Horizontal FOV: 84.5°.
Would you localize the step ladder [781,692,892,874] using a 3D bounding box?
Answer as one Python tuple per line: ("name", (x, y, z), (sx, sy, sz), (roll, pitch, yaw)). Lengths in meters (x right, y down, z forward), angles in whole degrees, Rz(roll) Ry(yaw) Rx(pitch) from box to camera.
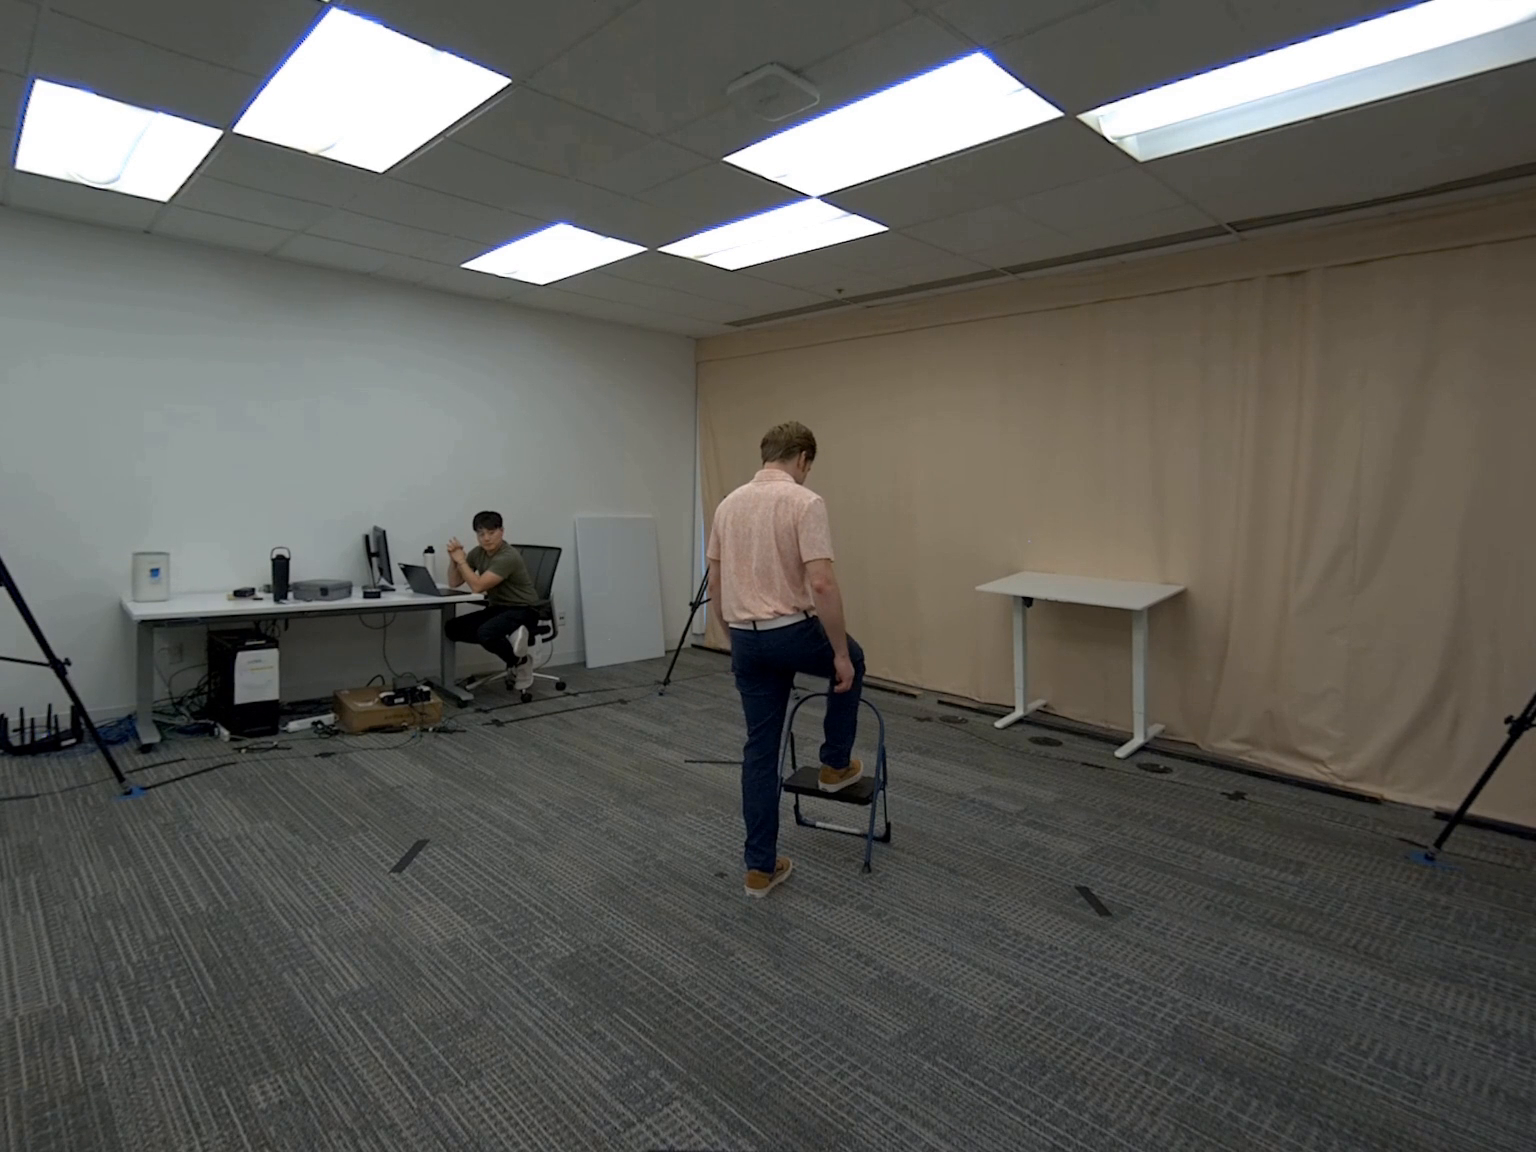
("step ladder", (0.254, 0.785, 3.381), (0.439, 0.605, 0.343), (3, 3, 24))
